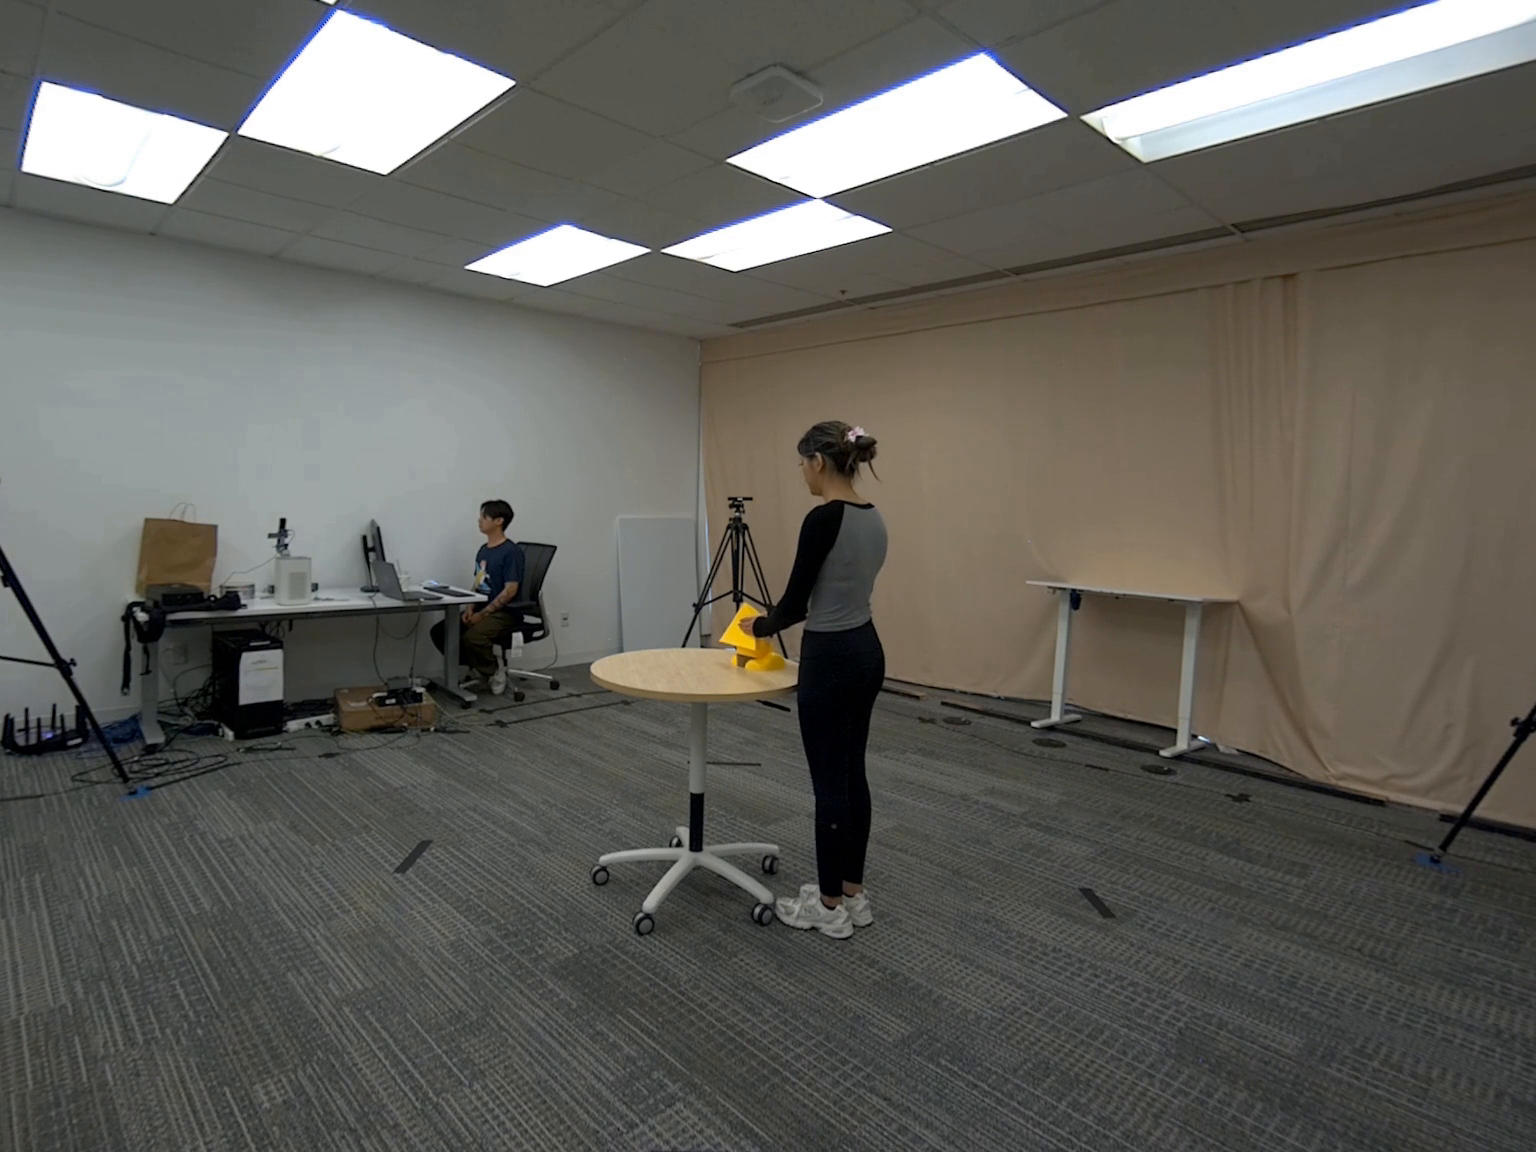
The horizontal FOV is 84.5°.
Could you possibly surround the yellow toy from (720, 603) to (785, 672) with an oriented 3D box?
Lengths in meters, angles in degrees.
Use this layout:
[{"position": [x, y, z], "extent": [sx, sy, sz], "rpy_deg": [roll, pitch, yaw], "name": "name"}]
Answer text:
[{"position": [-0.043, 0.212, 3.035], "extent": [0.189, 0.230, 0.210], "rpy_deg": [-2, 5, -39], "name": "yellow toy"}]
